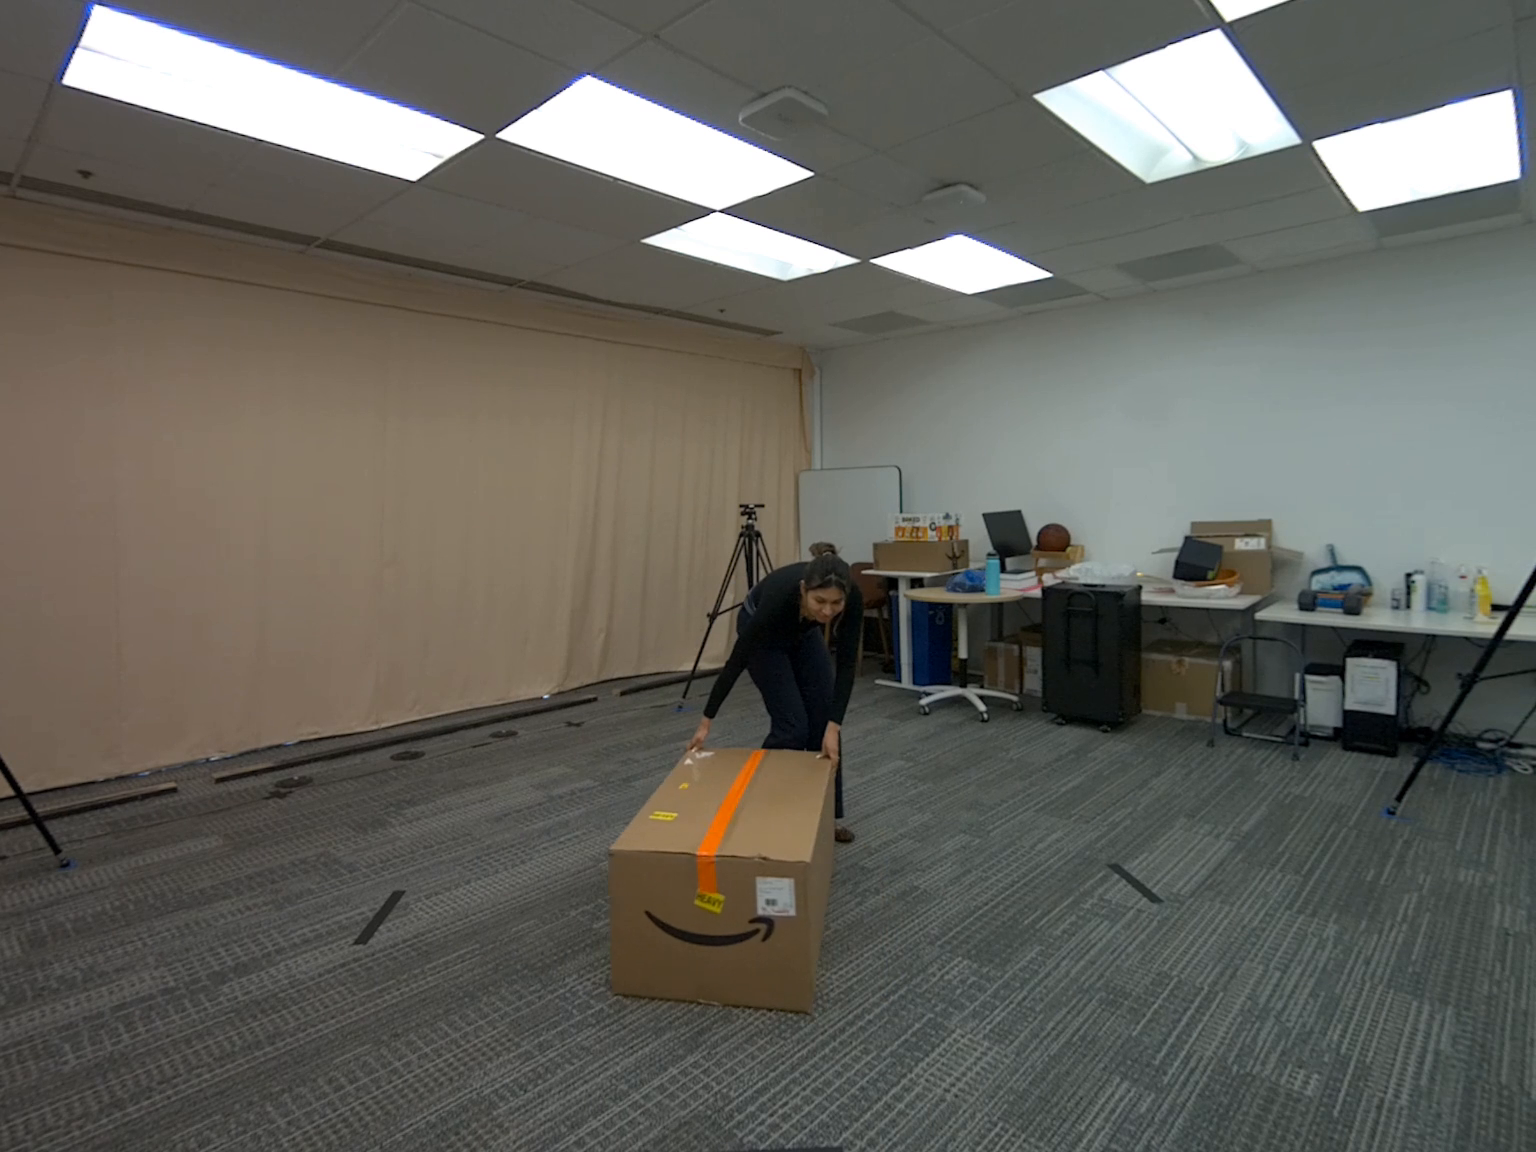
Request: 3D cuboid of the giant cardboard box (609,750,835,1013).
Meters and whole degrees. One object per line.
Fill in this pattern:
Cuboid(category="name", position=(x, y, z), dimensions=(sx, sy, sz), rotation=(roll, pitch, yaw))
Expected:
Cuboid(category="giant cardboard box", position=(-0.095, 0.934, 2.837), dimensions=(0.584, 0.425, 1.017), rotation=(-1, 4, 9))
